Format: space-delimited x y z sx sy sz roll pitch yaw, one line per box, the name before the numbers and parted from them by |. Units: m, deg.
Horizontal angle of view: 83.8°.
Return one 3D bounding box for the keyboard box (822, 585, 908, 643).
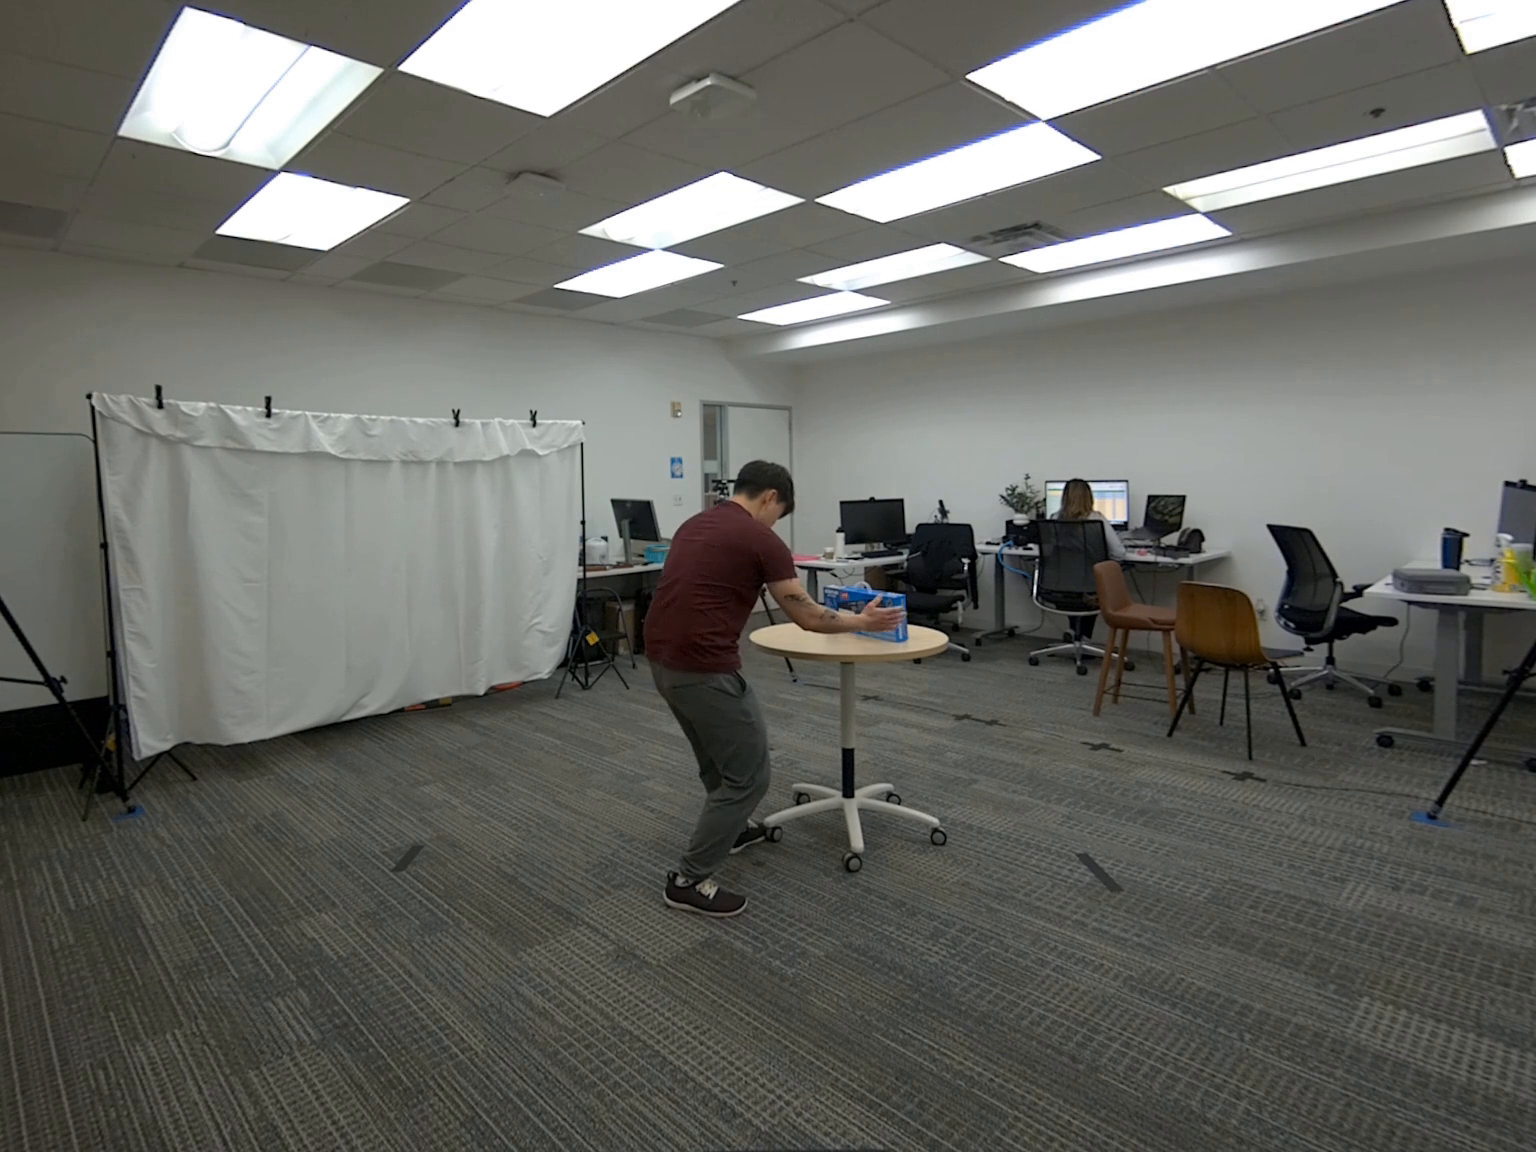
keyboard box | 0.383 0.146 3.371 0.058 0.175 0.449 -7 8 -32
